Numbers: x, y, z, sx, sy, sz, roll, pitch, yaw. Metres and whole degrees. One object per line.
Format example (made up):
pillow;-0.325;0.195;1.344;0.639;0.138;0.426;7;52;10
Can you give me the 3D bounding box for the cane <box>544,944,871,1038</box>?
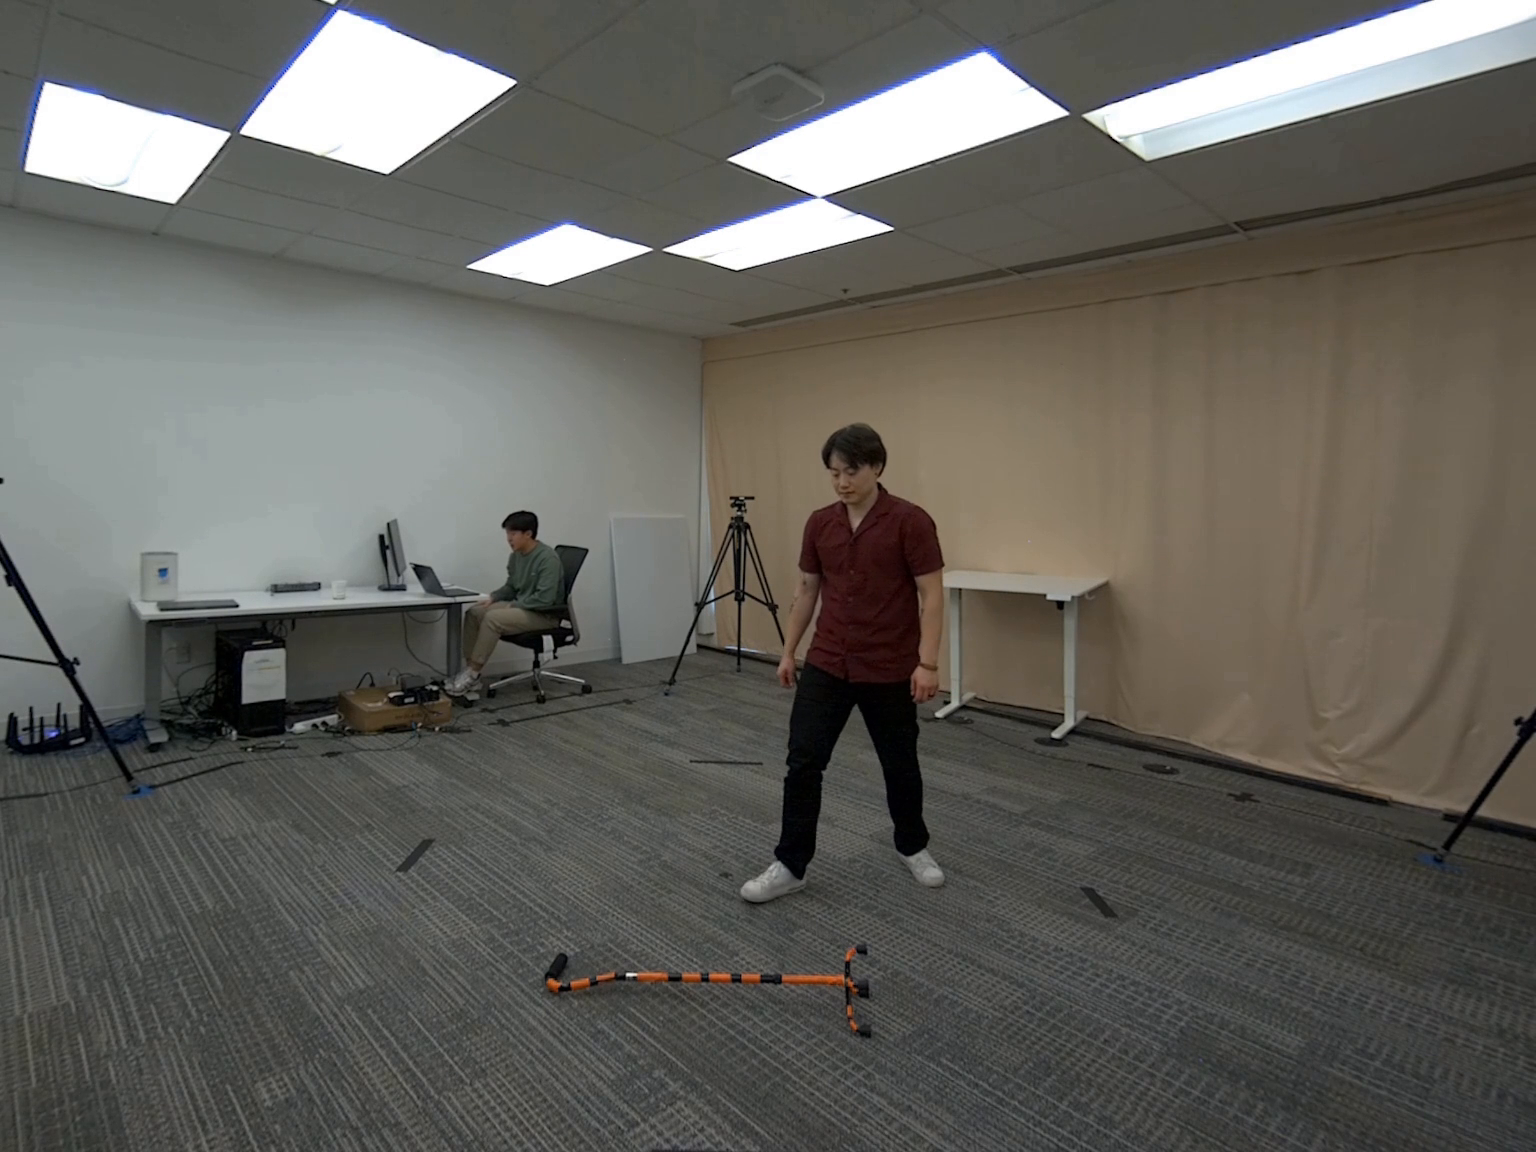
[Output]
cane;-0.189;1.133;2.332;0.914;0.151;0.205;-2;4;8
